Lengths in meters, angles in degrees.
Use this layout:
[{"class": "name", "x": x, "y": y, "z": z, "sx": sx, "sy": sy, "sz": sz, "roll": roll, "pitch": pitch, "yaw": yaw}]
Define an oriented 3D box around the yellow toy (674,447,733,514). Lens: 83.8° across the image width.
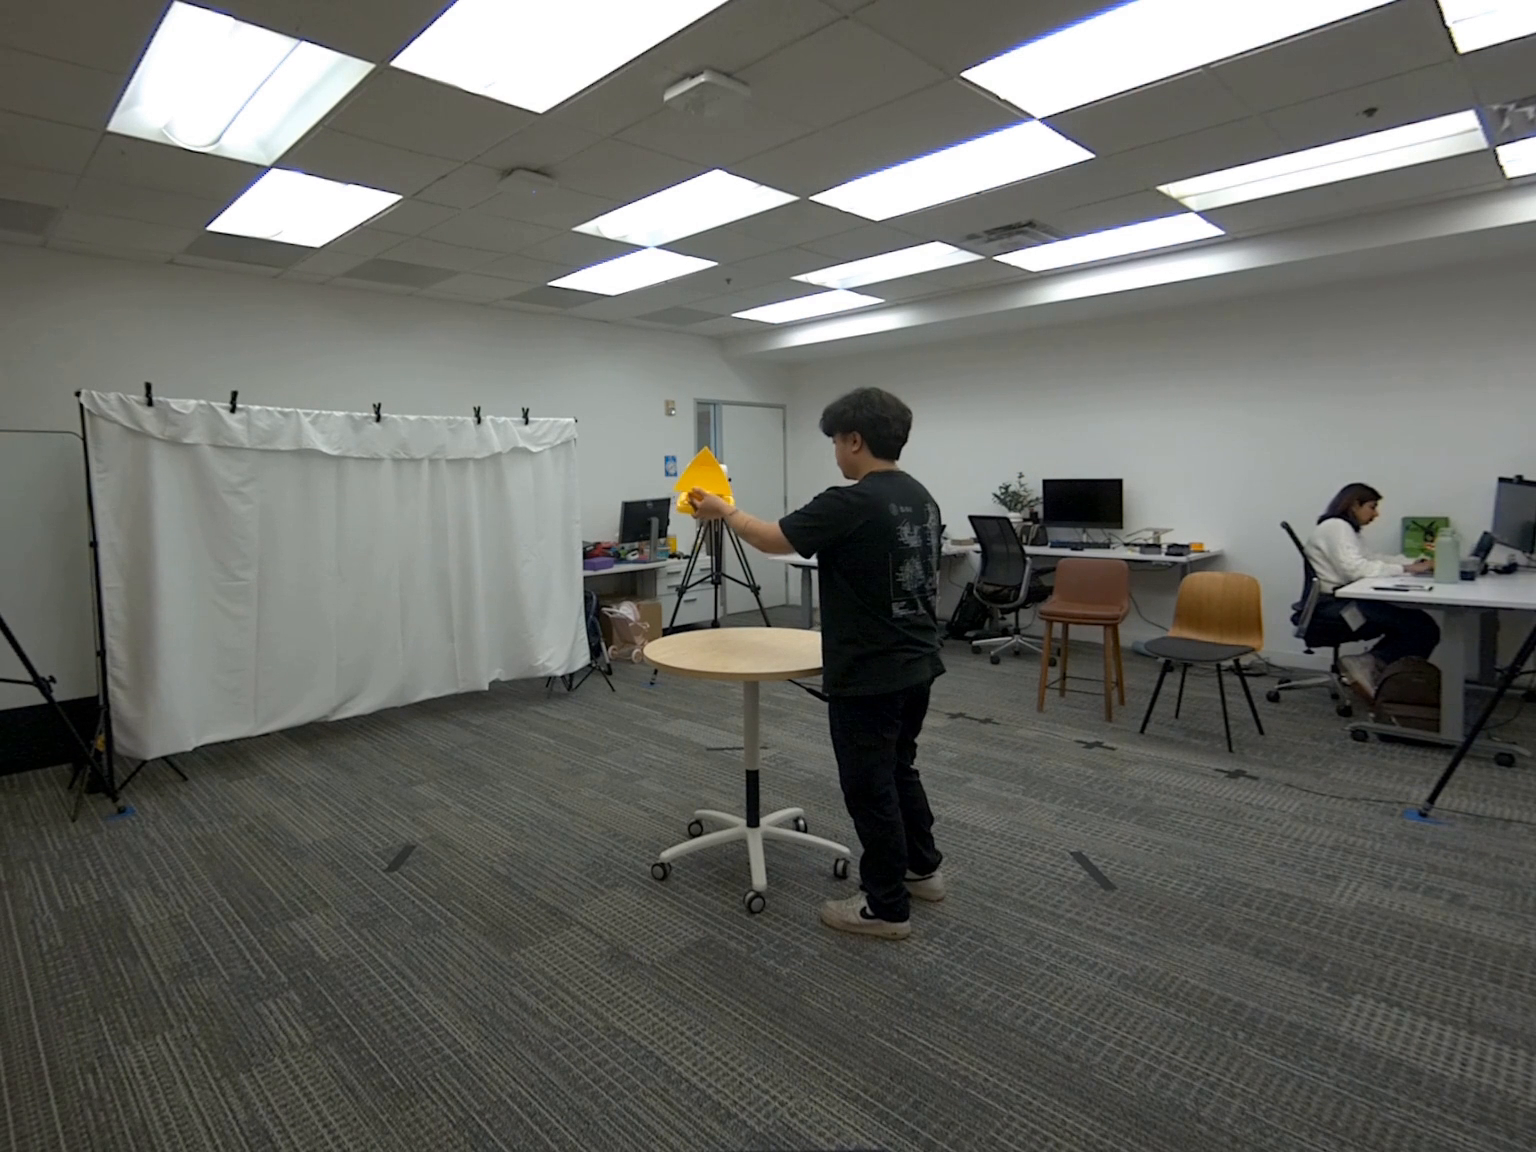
[{"class": "yellow toy", "x": -0.202, "y": -0.334, "z": 2.916, "sx": 0.206, "sy": 0.228, "sz": 0.193, "roll": 4, "pitch": 13, "yaw": 7}]
